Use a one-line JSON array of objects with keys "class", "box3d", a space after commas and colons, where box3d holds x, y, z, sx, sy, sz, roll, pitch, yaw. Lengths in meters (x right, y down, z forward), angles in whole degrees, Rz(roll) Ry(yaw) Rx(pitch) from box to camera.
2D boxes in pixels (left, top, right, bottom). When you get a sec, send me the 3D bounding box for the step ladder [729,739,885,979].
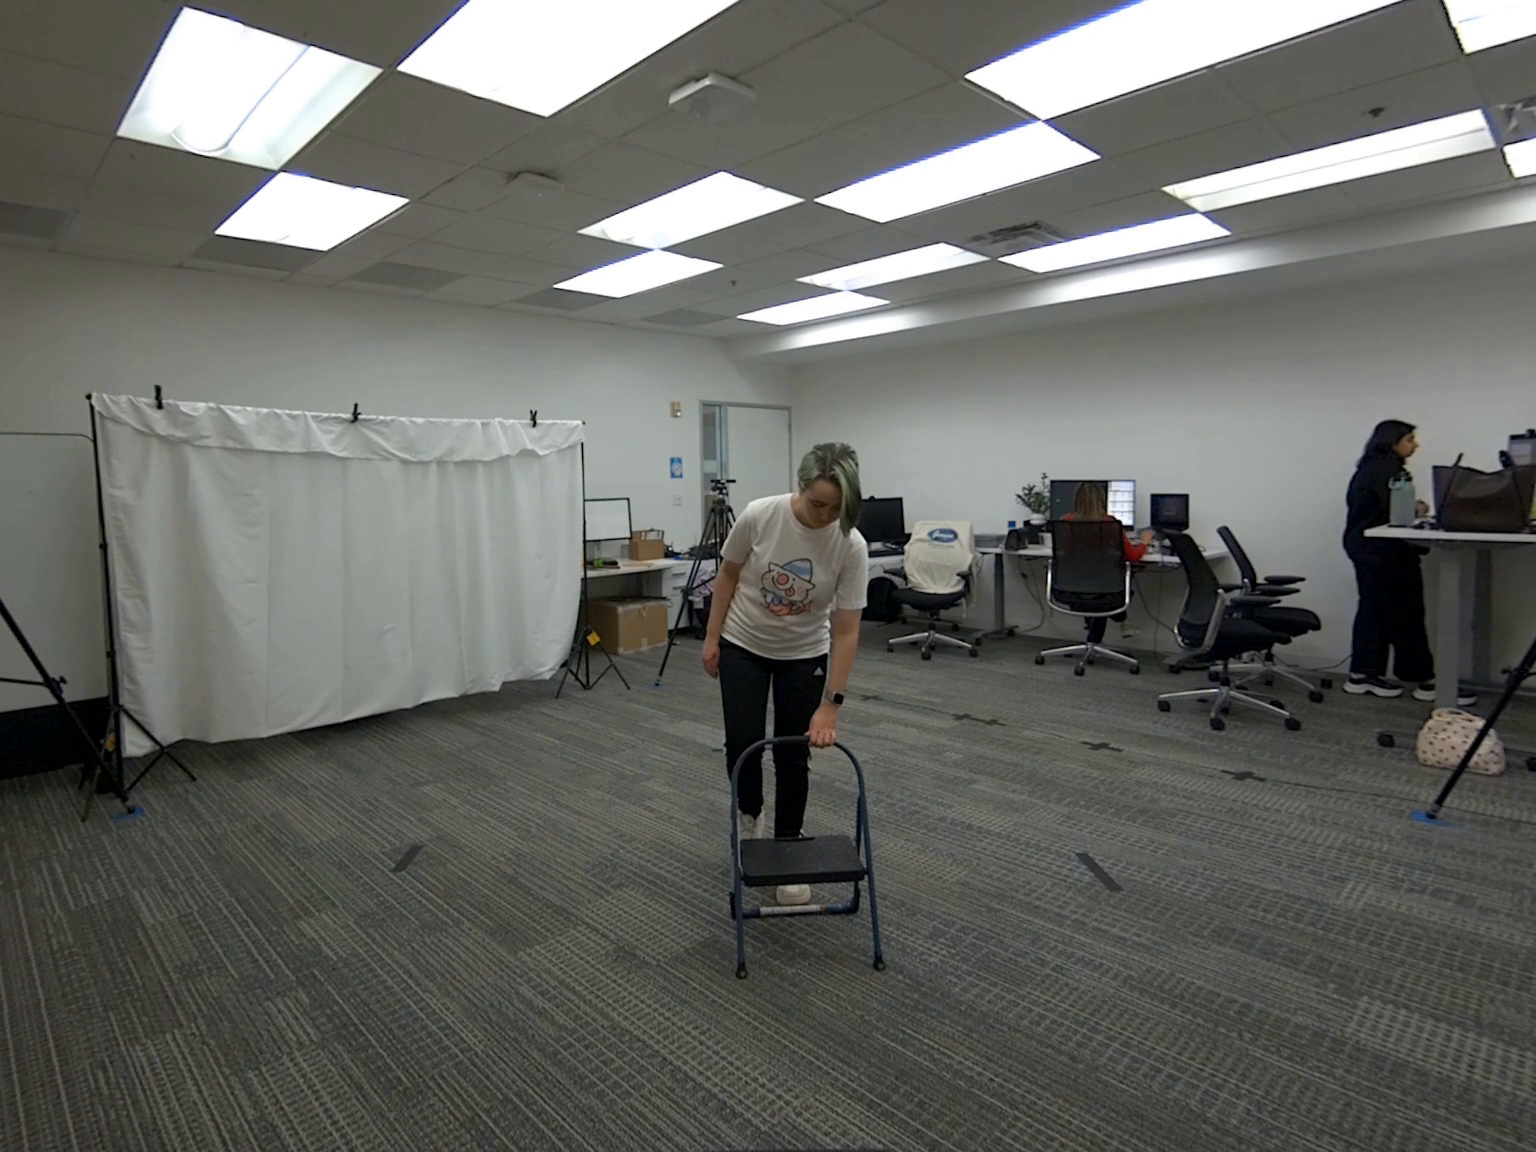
[{"class": "step ladder", "box3d": [0.103, 0.806, 2.567, 0.428, 0.604, 0.352, -2, 4, -6]}]
